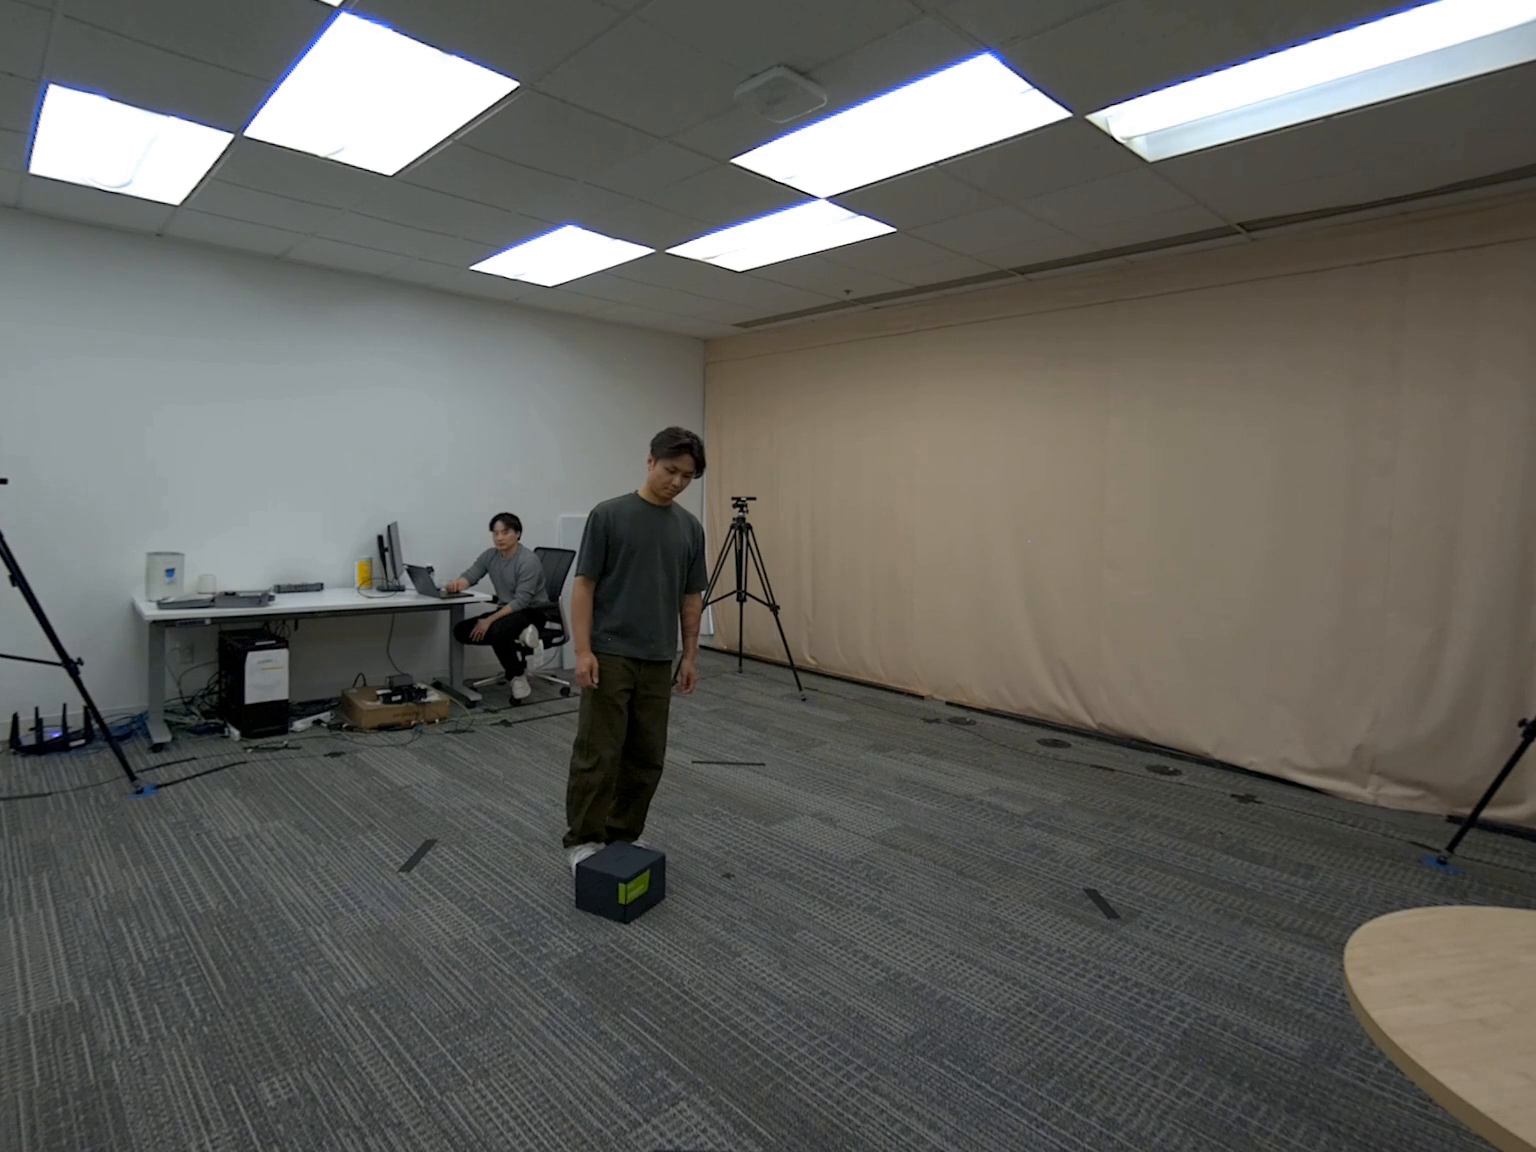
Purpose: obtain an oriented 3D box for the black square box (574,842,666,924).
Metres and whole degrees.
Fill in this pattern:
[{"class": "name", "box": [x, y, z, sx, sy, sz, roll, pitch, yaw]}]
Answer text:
[{"class": "black square box", "box": [-0.505, 1.037, 2.866, 0.221, 0.155, 0.224, 4, 5, 28]}]
